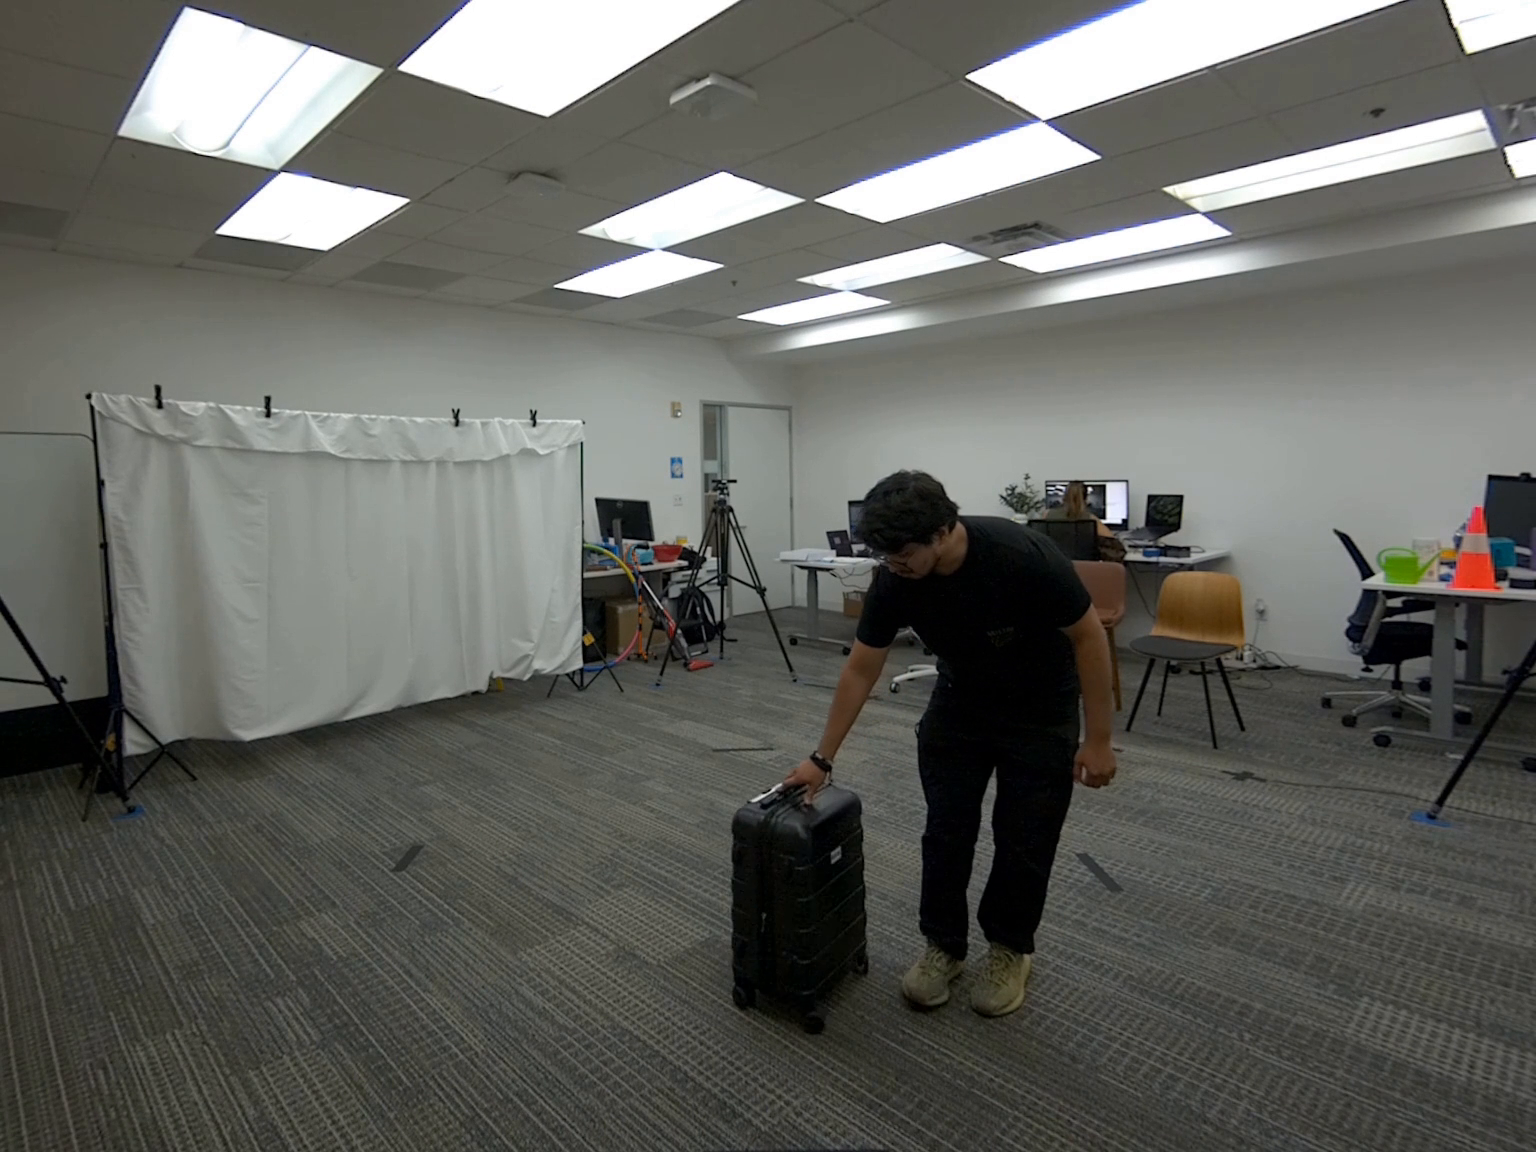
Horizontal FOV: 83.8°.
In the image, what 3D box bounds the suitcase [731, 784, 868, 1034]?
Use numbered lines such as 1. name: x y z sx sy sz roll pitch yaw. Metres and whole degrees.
1. suitcase: 0.096 0.858 2.336 0.255 0.548 0.366 1 4 35
